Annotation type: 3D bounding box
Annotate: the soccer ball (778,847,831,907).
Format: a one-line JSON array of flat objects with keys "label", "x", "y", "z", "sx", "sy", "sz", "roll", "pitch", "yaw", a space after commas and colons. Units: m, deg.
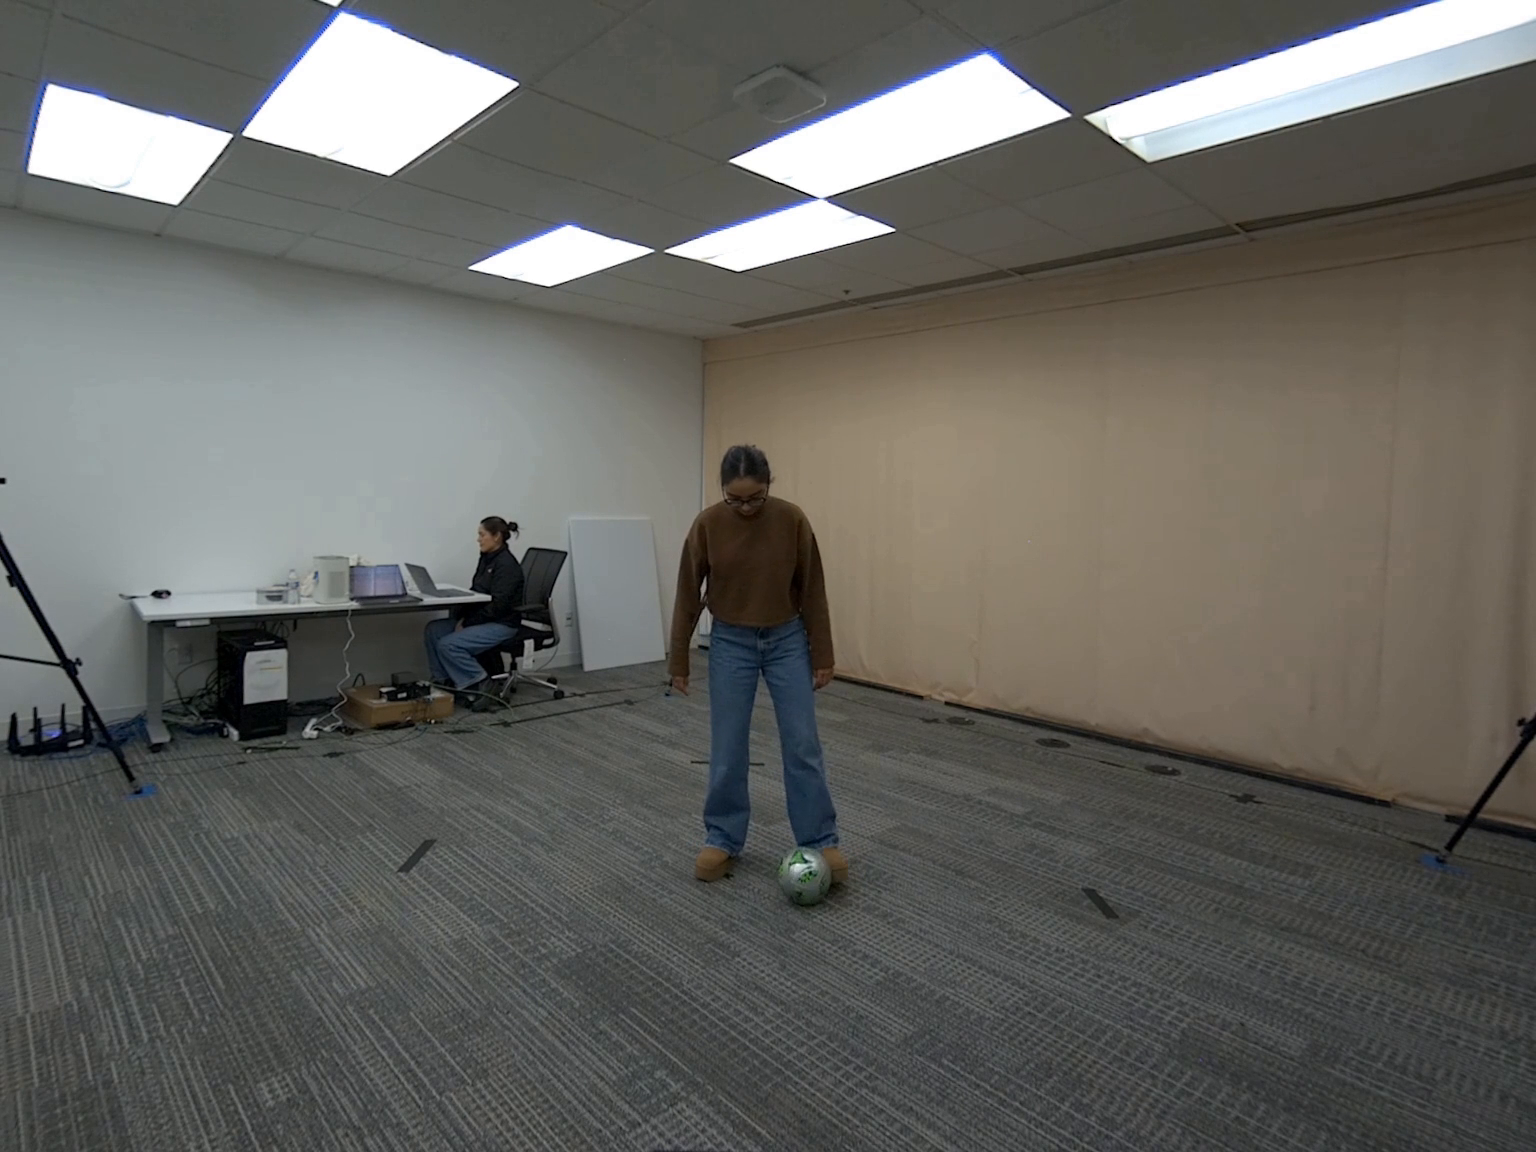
[{"label": "soccer ball", "x": 0.110, "y": 1.036, "z": 2.911, "sx": 0.187, "sy": 0.187, "sz": 0.188, "roll": 1, "pitch": 4, "yaw": -1}]
